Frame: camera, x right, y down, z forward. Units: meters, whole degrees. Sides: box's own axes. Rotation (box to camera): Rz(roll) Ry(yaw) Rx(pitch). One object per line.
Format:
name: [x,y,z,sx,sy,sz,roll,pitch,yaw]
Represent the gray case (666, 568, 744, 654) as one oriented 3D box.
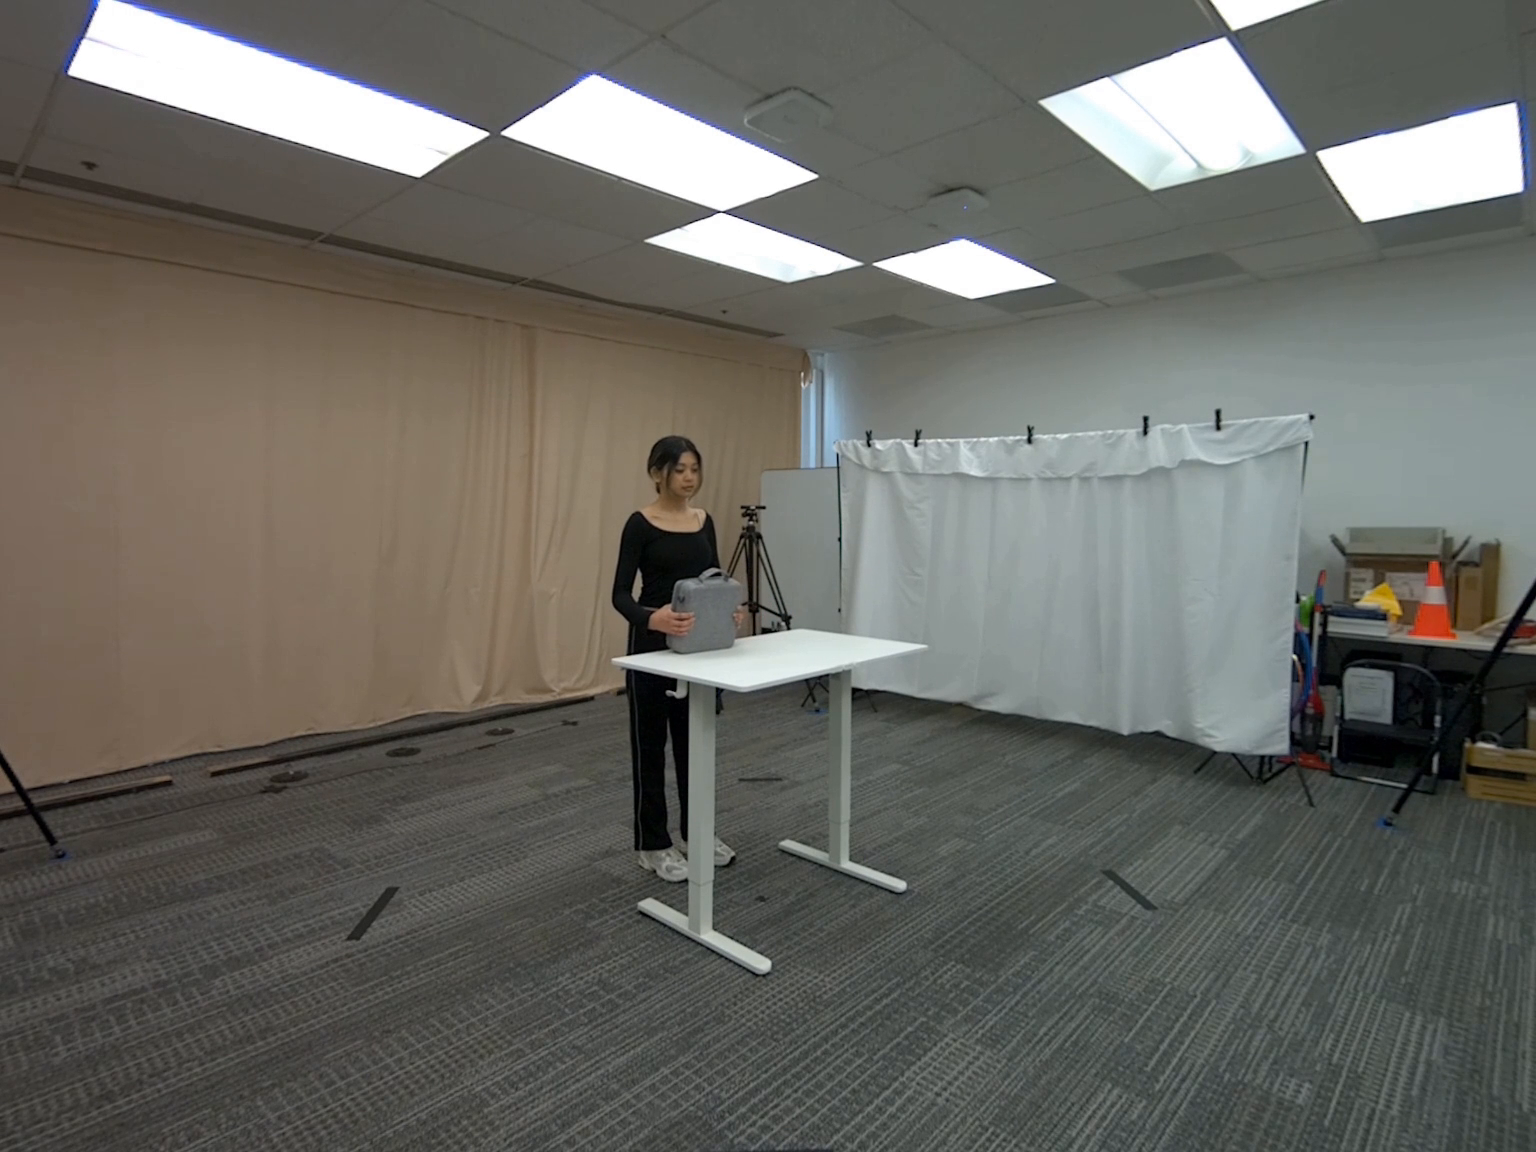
gray case: [-0.217,0.133,2.948,0.249,0.259,0.108,-3,17,-39]
